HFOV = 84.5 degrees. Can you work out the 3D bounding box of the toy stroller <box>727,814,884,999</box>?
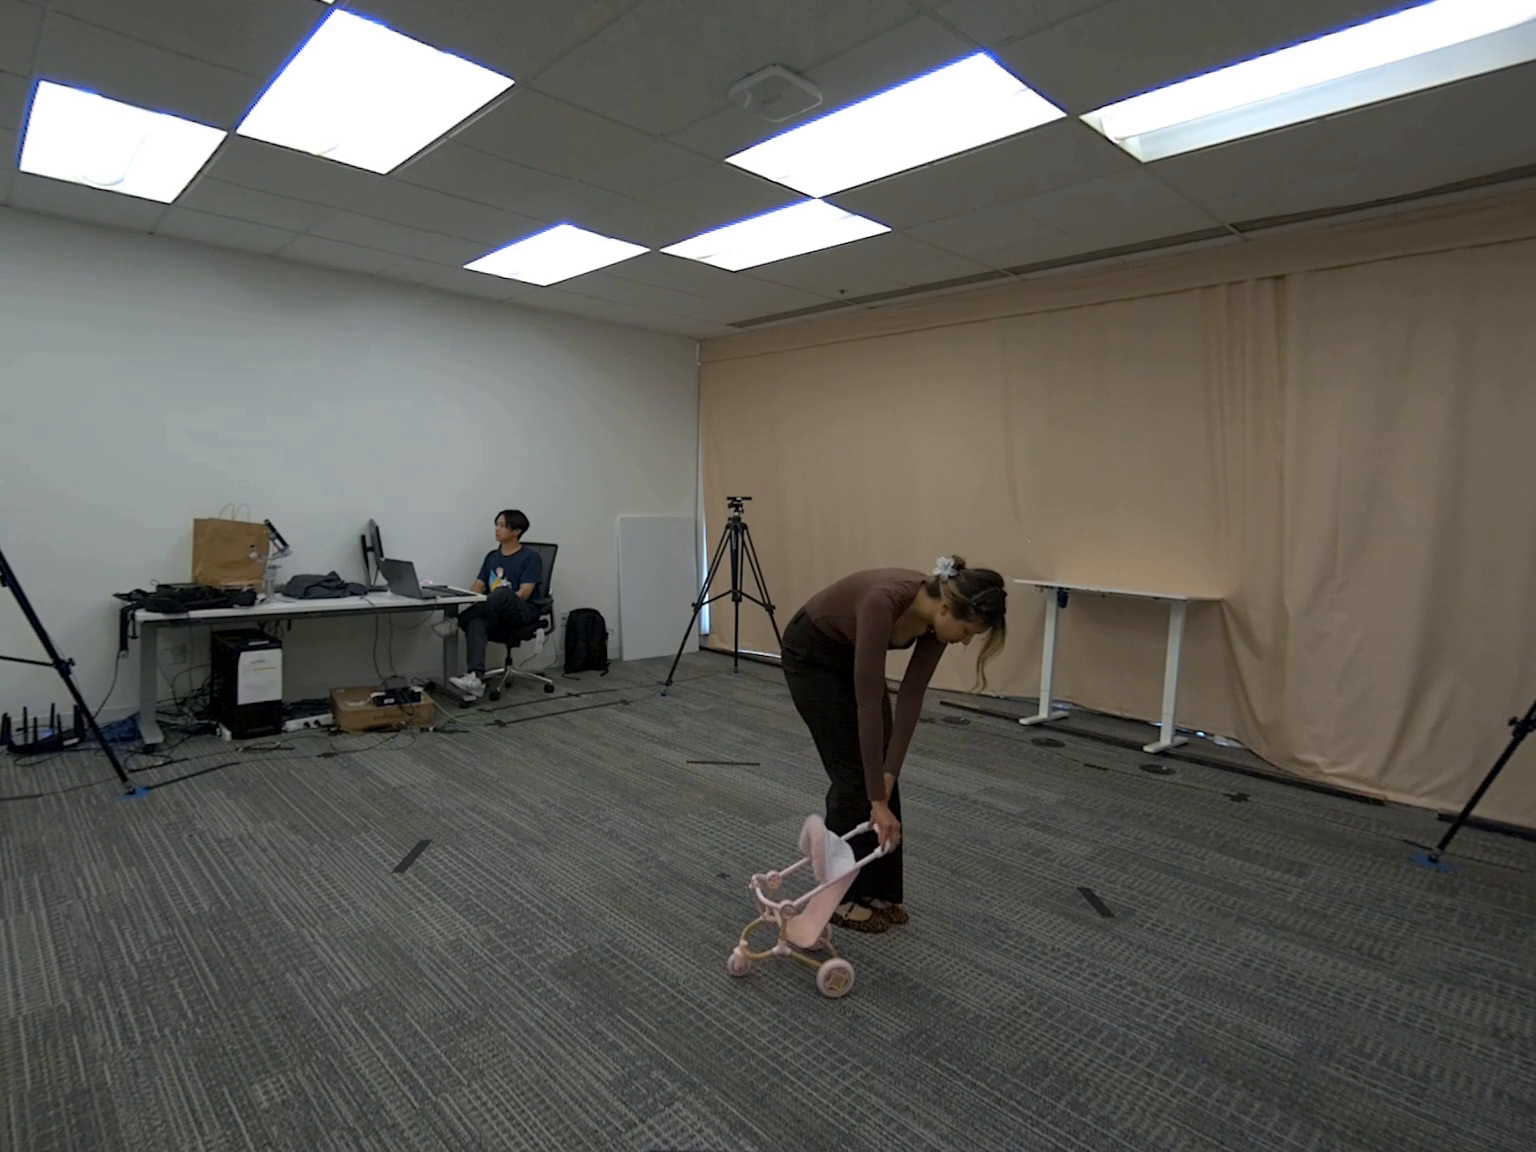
[{"bbox_3d":[0.107,0.945,2.473,0.340,0.534,0.283,19,1,-5],"label":"toy stroller"}]
